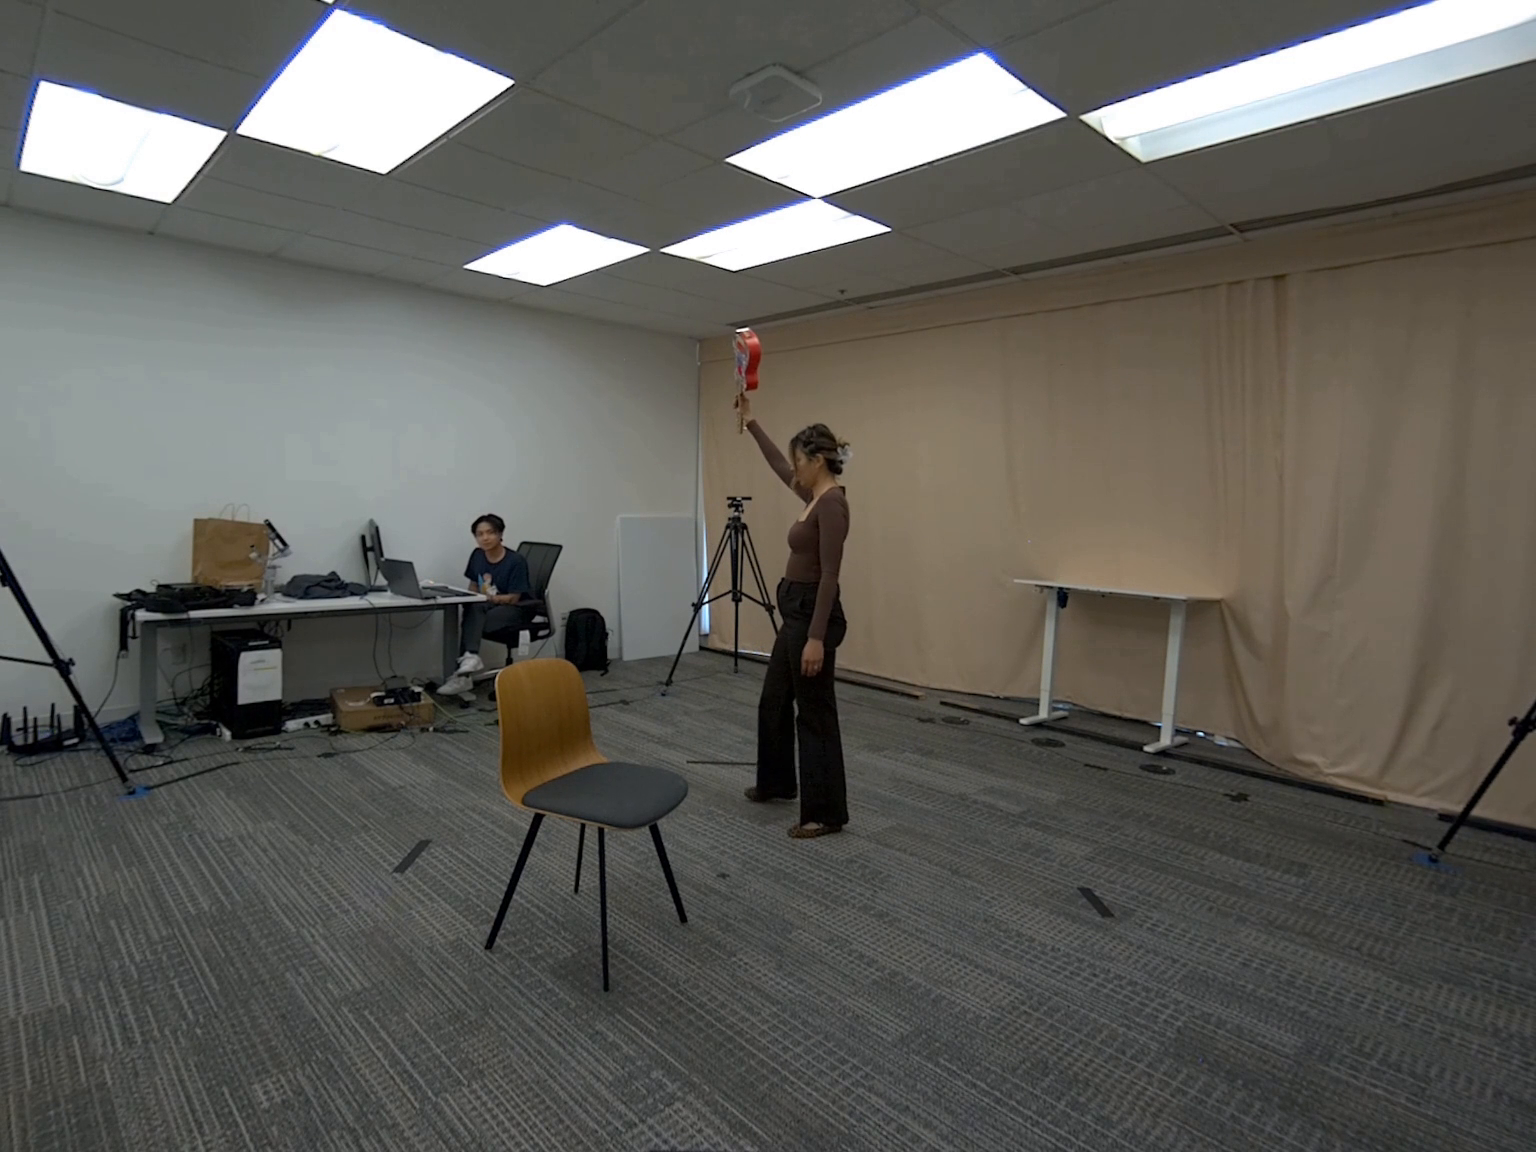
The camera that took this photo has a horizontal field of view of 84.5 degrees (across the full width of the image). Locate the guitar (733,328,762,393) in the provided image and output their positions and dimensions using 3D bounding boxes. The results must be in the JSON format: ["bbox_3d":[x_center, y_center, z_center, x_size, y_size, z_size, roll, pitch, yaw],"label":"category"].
[{"bbox_3d":[-0.129,-0.883,3.839,0.070,0.488,0.199,-13,50,-19],"label":"guitar"}]
